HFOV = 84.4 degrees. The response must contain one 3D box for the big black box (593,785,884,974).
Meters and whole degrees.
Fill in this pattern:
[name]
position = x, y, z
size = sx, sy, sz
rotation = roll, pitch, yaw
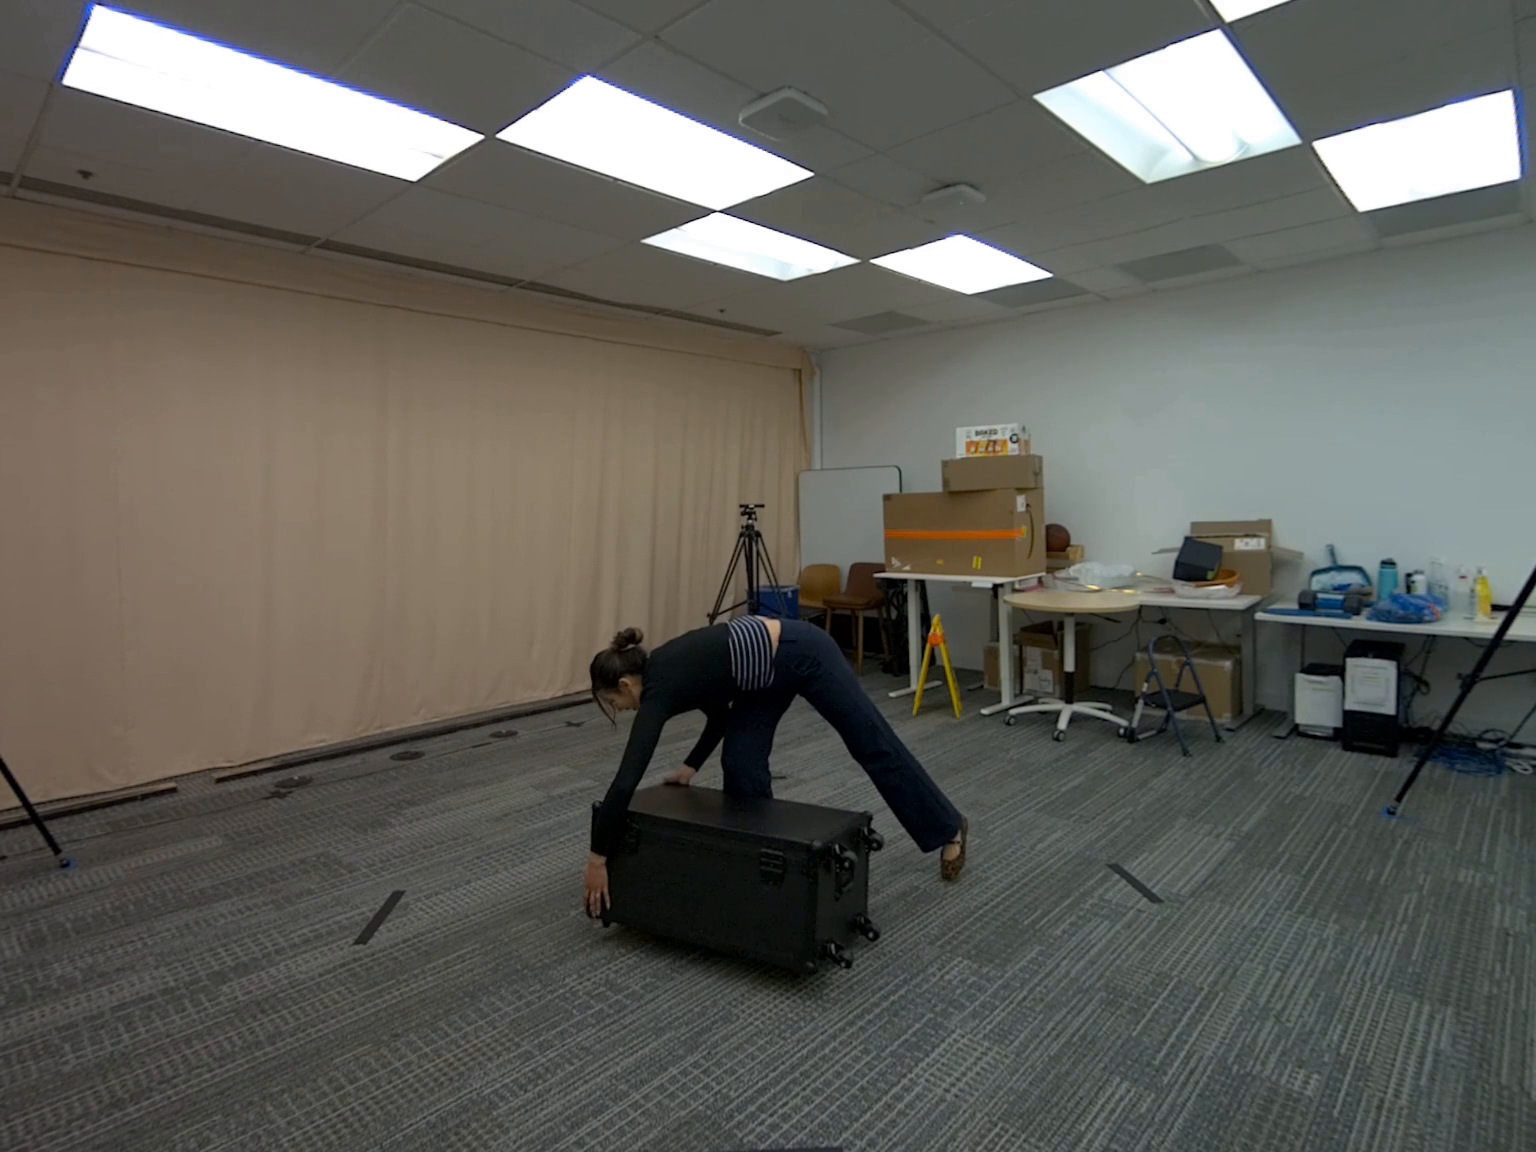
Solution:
[big black box]
position = -0.090, 0.952, 2.701
size = 0.884, 0.397, 0.507
rotation = 1, -4, 26
